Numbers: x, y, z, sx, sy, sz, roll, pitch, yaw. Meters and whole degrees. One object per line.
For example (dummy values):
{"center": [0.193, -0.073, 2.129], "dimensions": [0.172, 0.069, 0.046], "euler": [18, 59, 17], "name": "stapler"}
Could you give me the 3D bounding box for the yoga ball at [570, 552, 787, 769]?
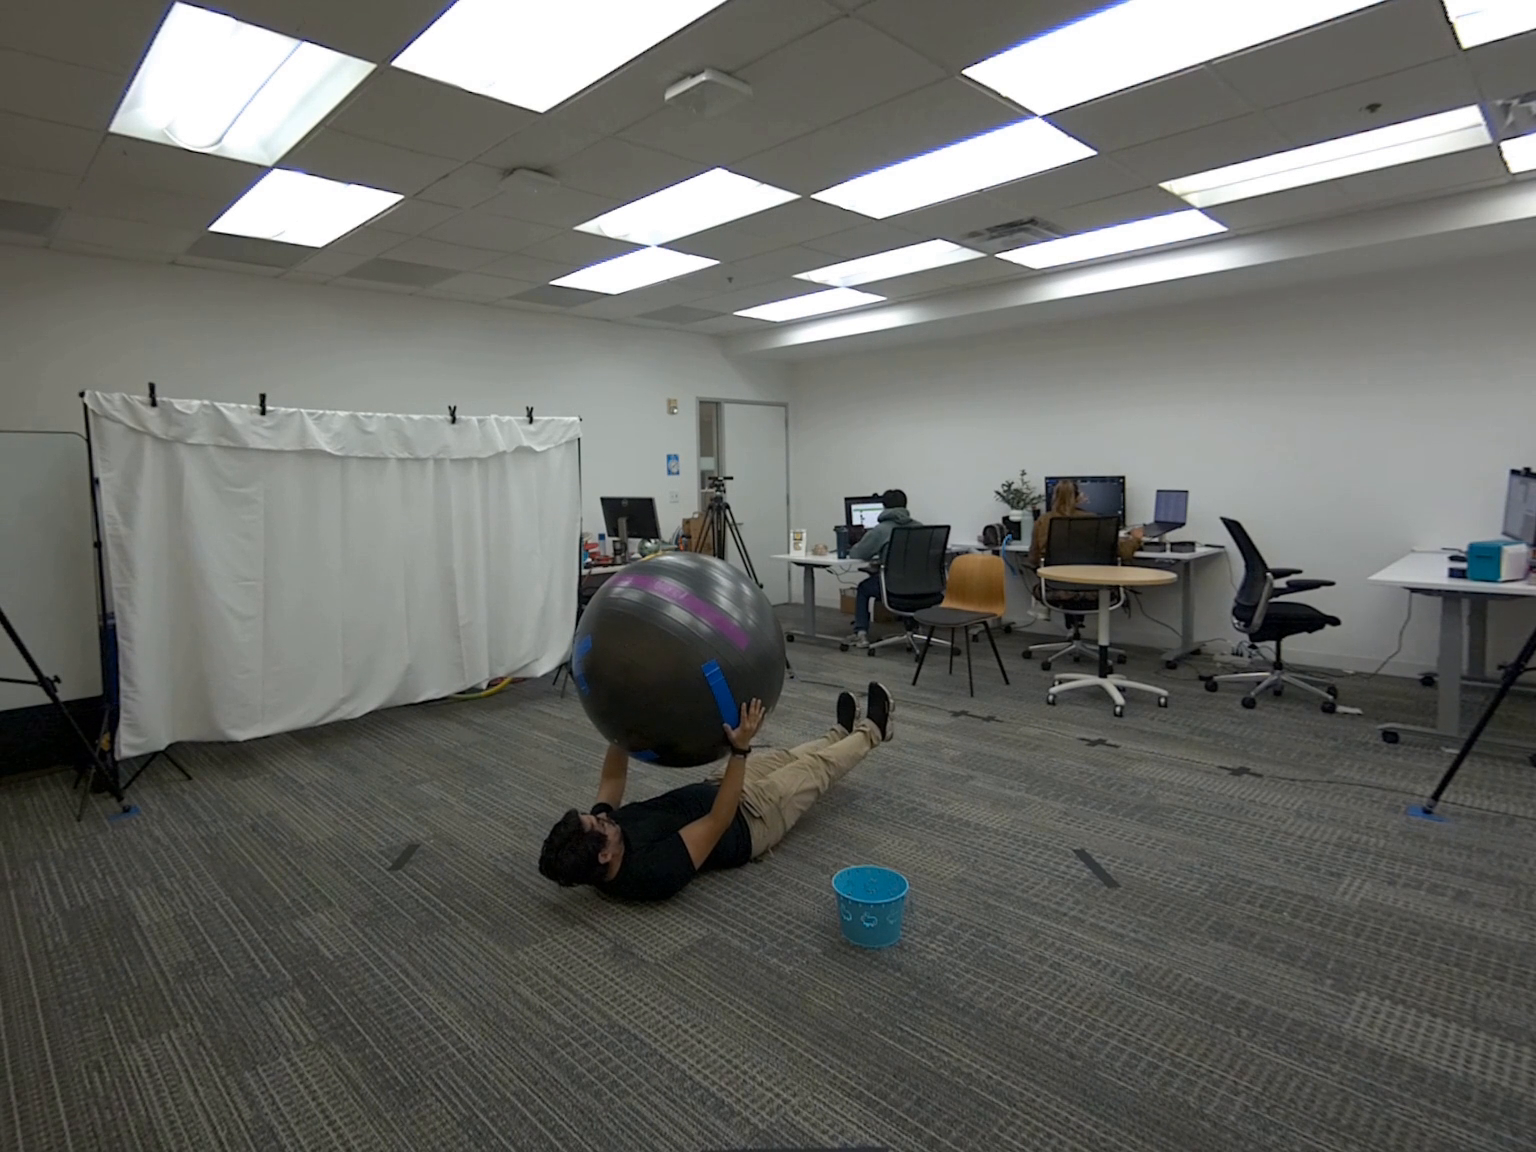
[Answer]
{"center": [-0.317, 0.297, 3.049], "dimensions": [0.757, 0.755, 0.761], "euler": [-1, 4, -2], "name": "yoga ball"}
